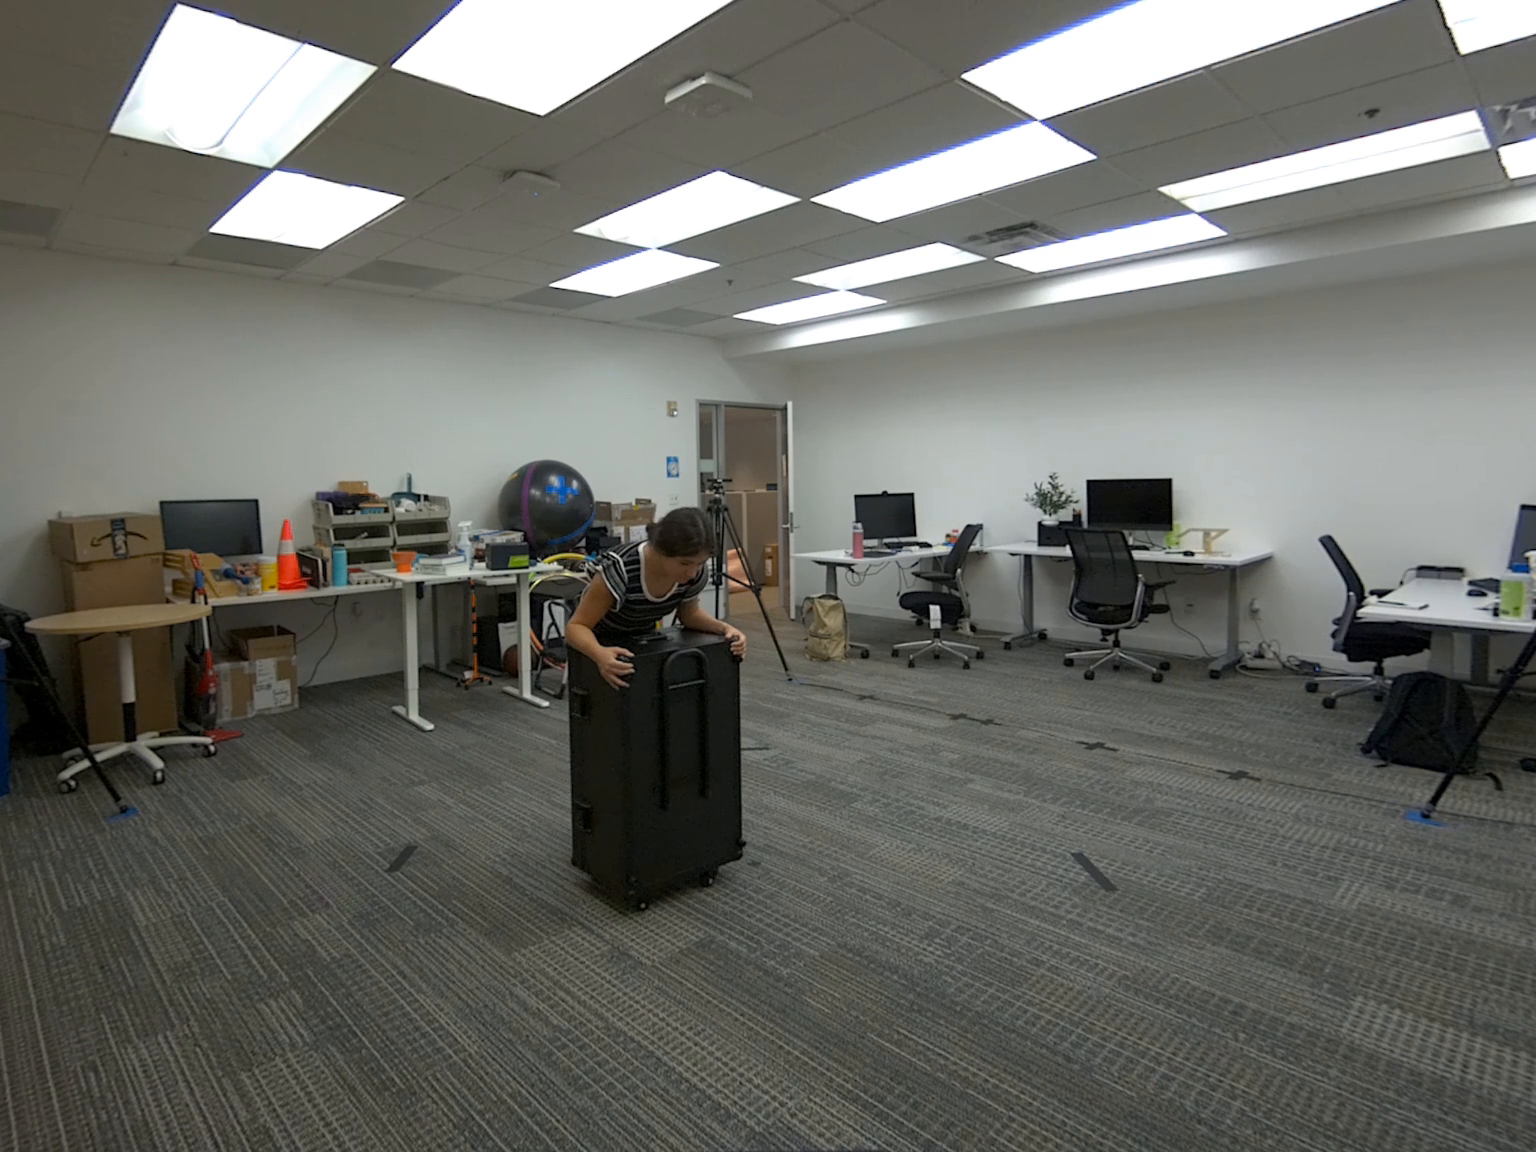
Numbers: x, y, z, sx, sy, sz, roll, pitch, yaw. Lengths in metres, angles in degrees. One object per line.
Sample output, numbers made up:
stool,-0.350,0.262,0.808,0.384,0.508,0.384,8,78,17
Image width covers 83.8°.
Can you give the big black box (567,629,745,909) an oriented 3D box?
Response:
big black box,-0.375,0.650,2.943,0.508,0.857,0.409,-5,7,-39
